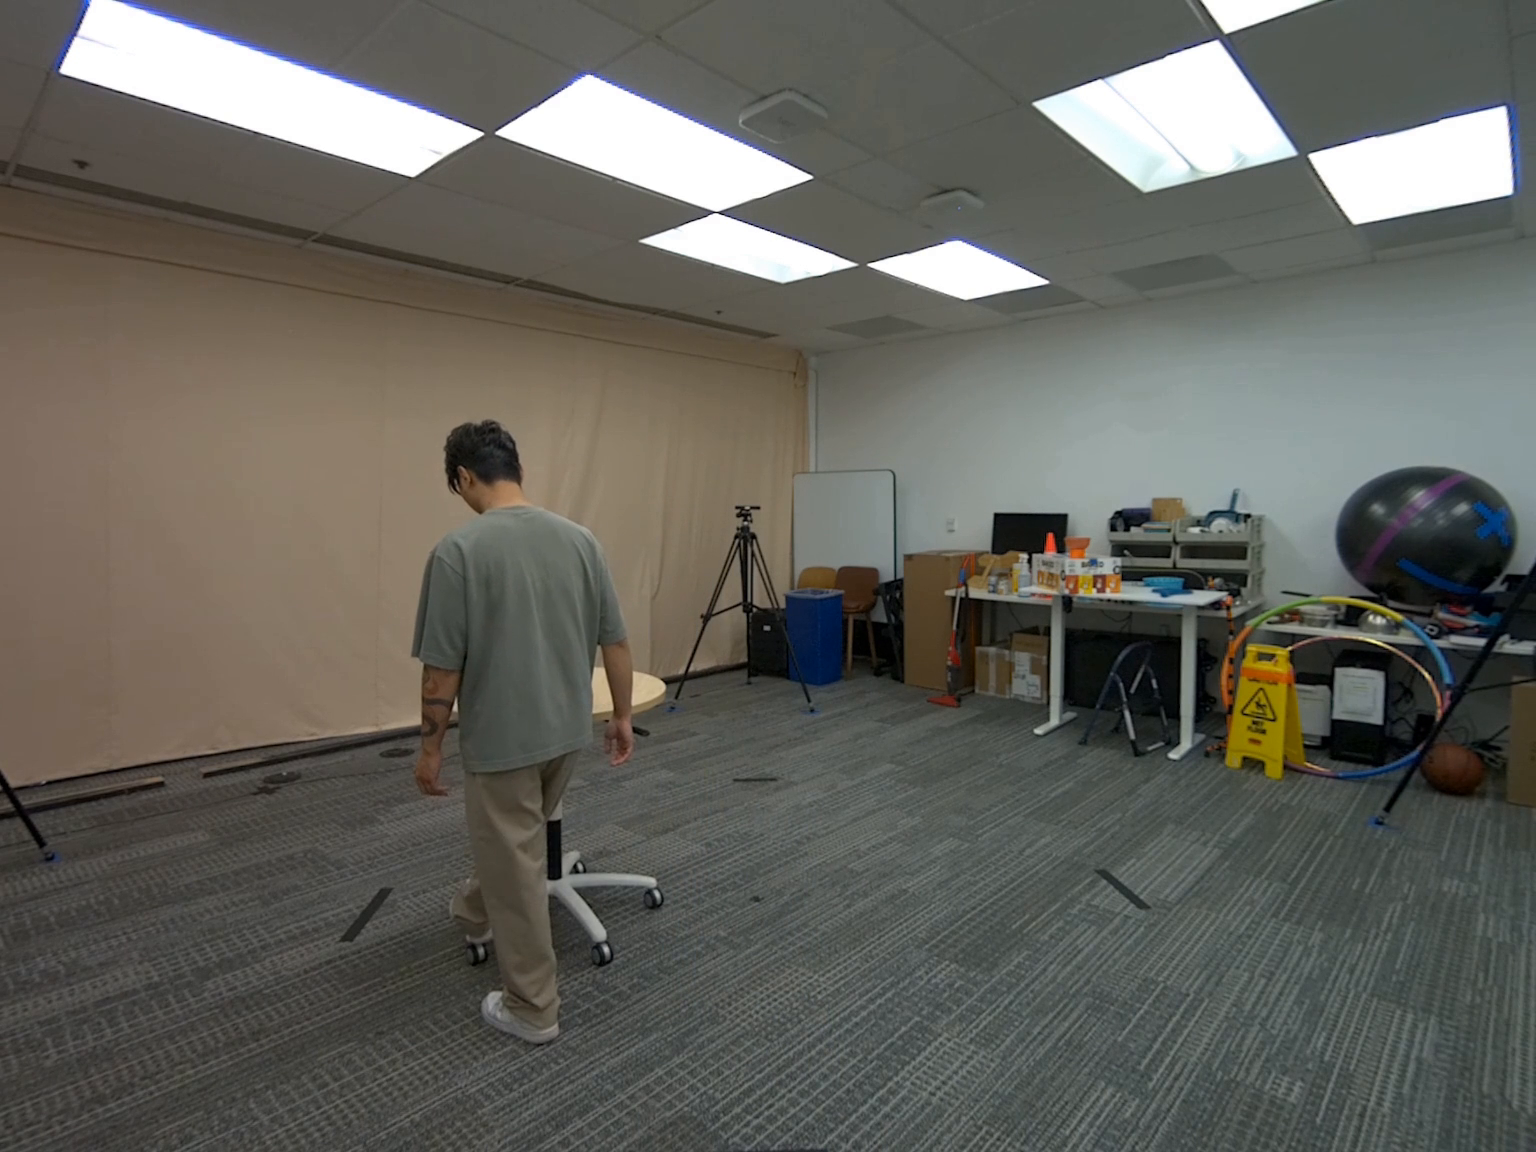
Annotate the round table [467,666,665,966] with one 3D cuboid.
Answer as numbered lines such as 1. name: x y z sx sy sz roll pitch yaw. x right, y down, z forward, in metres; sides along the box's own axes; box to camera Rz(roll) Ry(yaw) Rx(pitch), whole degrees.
1. round table: -0.699 0.768 2.836 0.784 0.785 0.788 -1 4 -2
